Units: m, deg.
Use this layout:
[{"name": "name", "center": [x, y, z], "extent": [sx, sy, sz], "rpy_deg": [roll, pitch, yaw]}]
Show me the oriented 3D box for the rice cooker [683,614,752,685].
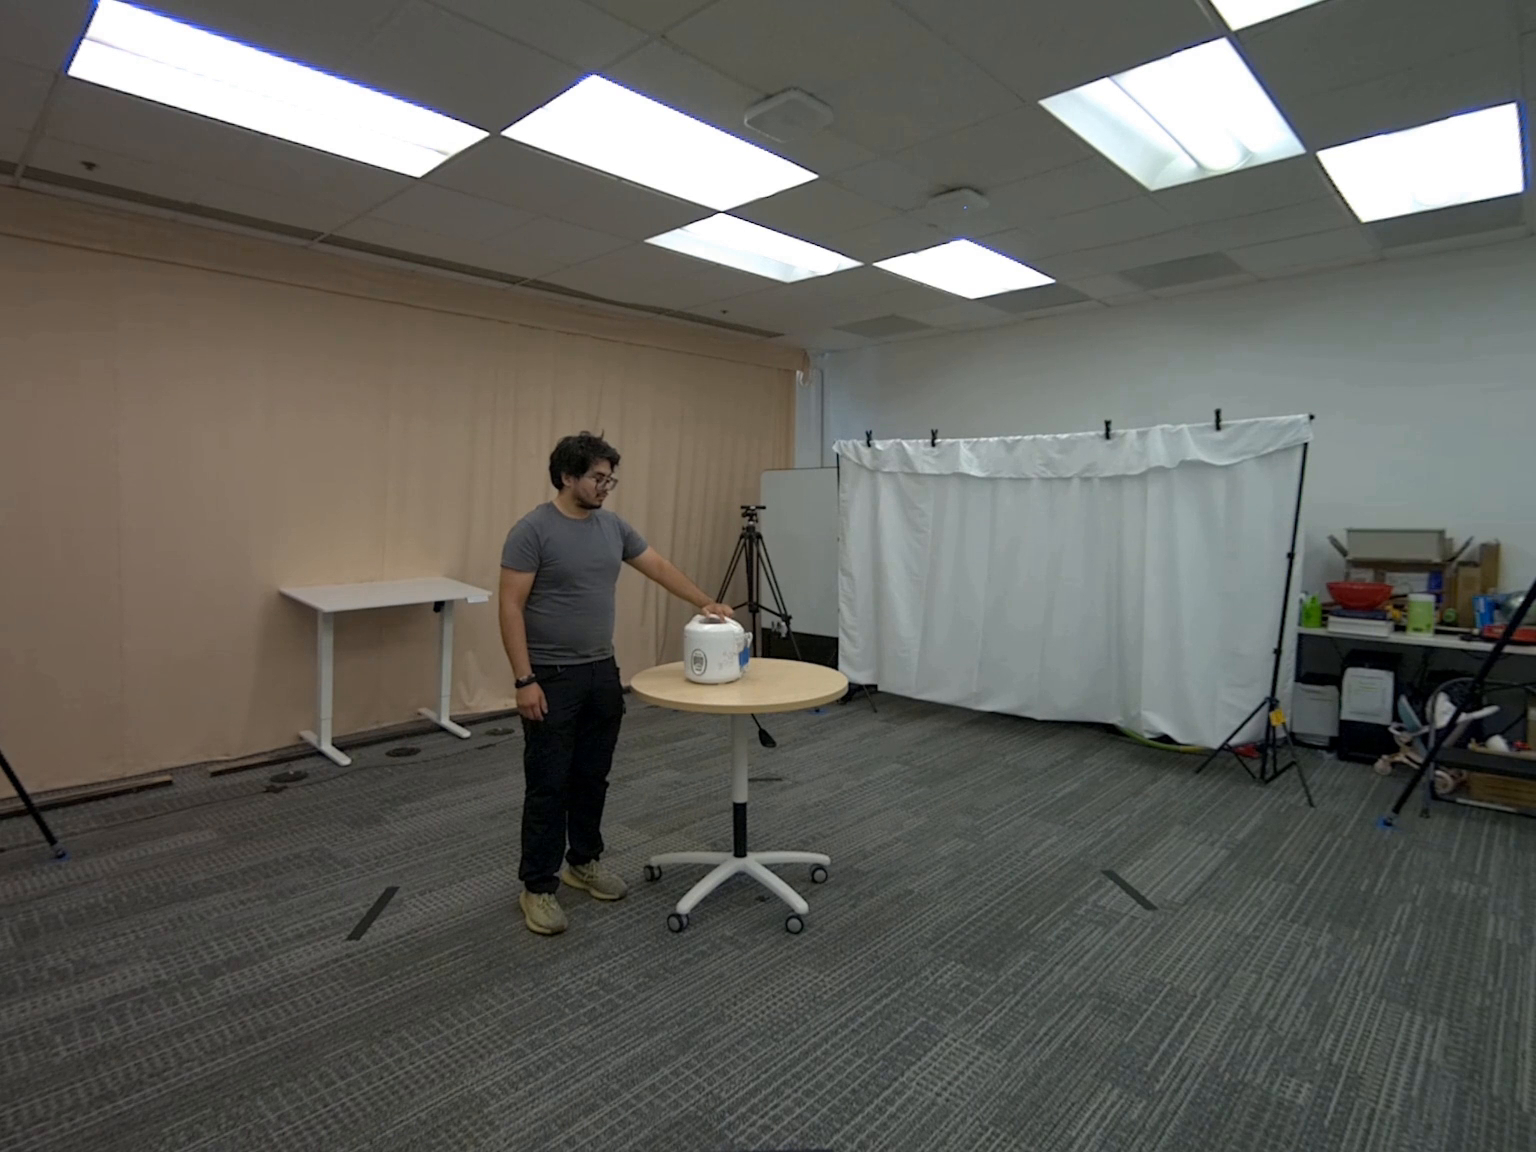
[{"name": "rice cooker", "center": [-0.185, 0.250, 2.958], "extent": [0.226, 0.232, 0.212], "rpy_deg": [1, 3, 26]}]
